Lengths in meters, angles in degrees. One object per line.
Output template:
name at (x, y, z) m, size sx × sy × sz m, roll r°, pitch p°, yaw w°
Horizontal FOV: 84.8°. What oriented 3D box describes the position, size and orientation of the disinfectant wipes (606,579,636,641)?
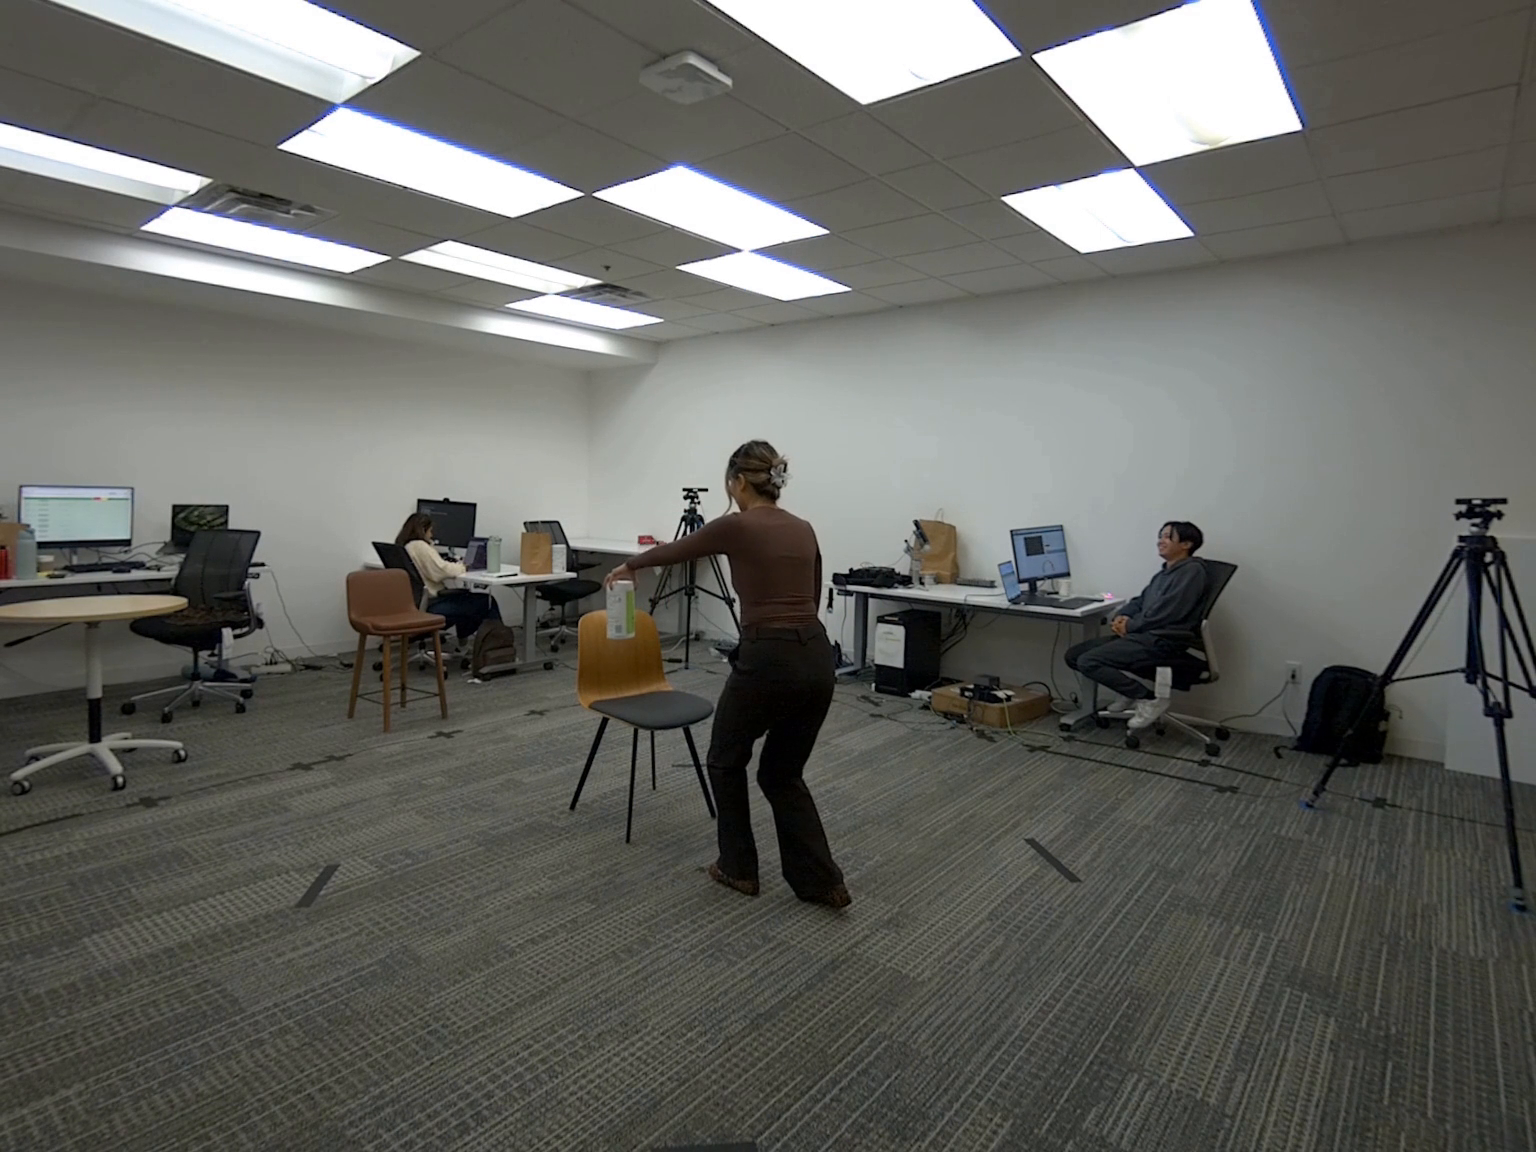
disinfectant wipes at (-0.578, 0.129, 3.283) m, size 0.118 × 0.216 × 0.118 m, roll 0°, pitch 5°, yaw -2°
